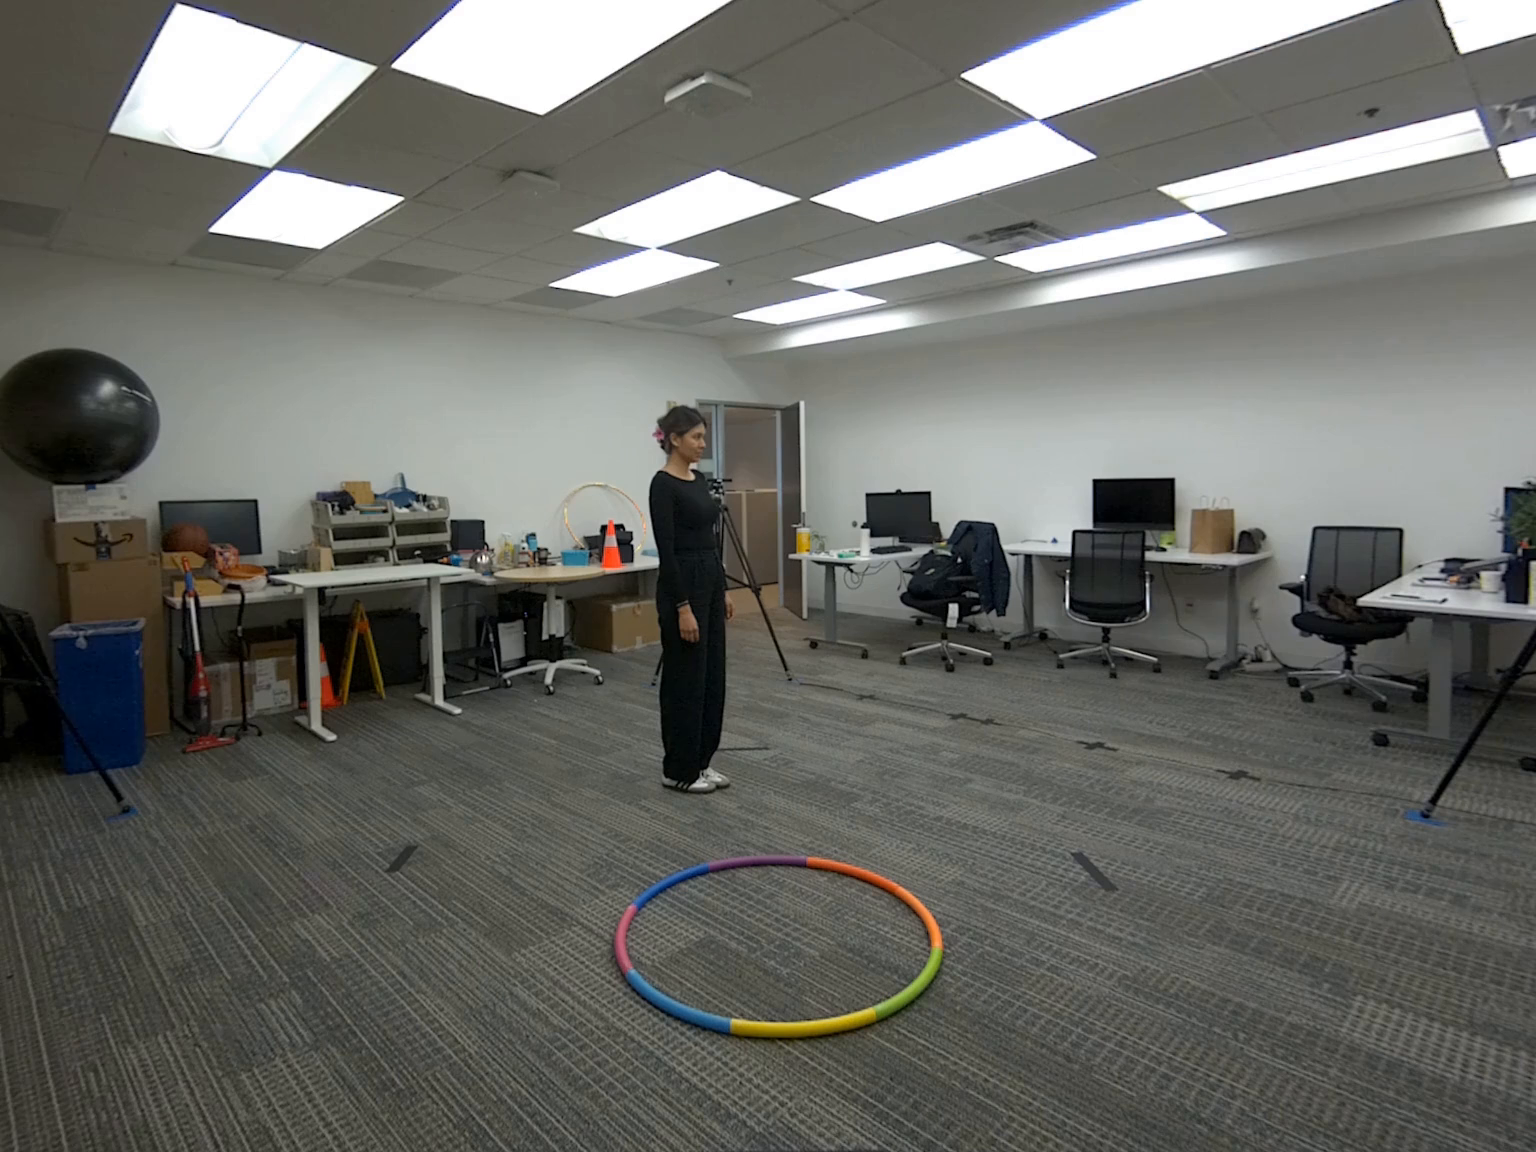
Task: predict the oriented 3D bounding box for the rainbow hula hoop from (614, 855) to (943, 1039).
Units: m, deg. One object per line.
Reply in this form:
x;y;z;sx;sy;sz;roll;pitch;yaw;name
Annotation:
0.026;1.069;2.620;0.978;0.035;0.984;-2;6;-2;rainbow hula hoop
